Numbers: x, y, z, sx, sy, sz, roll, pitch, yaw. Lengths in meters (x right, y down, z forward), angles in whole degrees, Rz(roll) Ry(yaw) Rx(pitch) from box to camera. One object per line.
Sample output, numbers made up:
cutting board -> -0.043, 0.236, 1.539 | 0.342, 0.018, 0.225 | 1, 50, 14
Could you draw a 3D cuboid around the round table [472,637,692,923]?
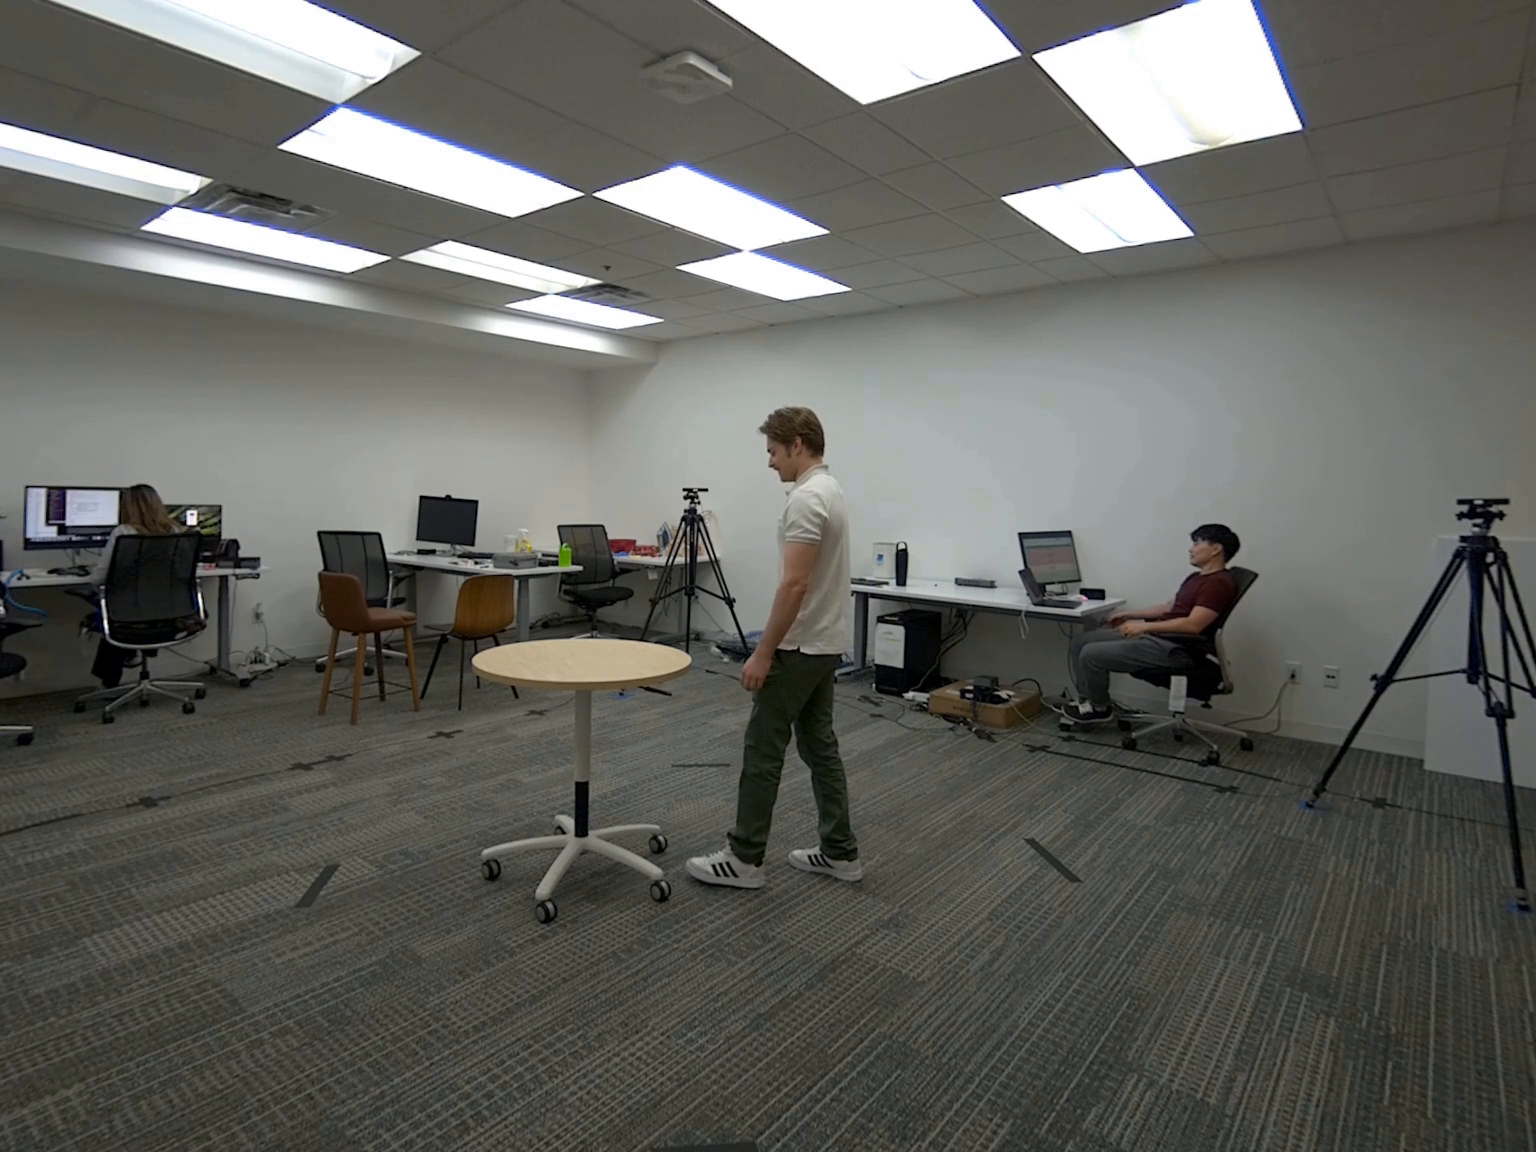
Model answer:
round table -> -0.669, 0.681, 3.043 | 0.763, 0.791, 0.768 | 1, 4, -2
